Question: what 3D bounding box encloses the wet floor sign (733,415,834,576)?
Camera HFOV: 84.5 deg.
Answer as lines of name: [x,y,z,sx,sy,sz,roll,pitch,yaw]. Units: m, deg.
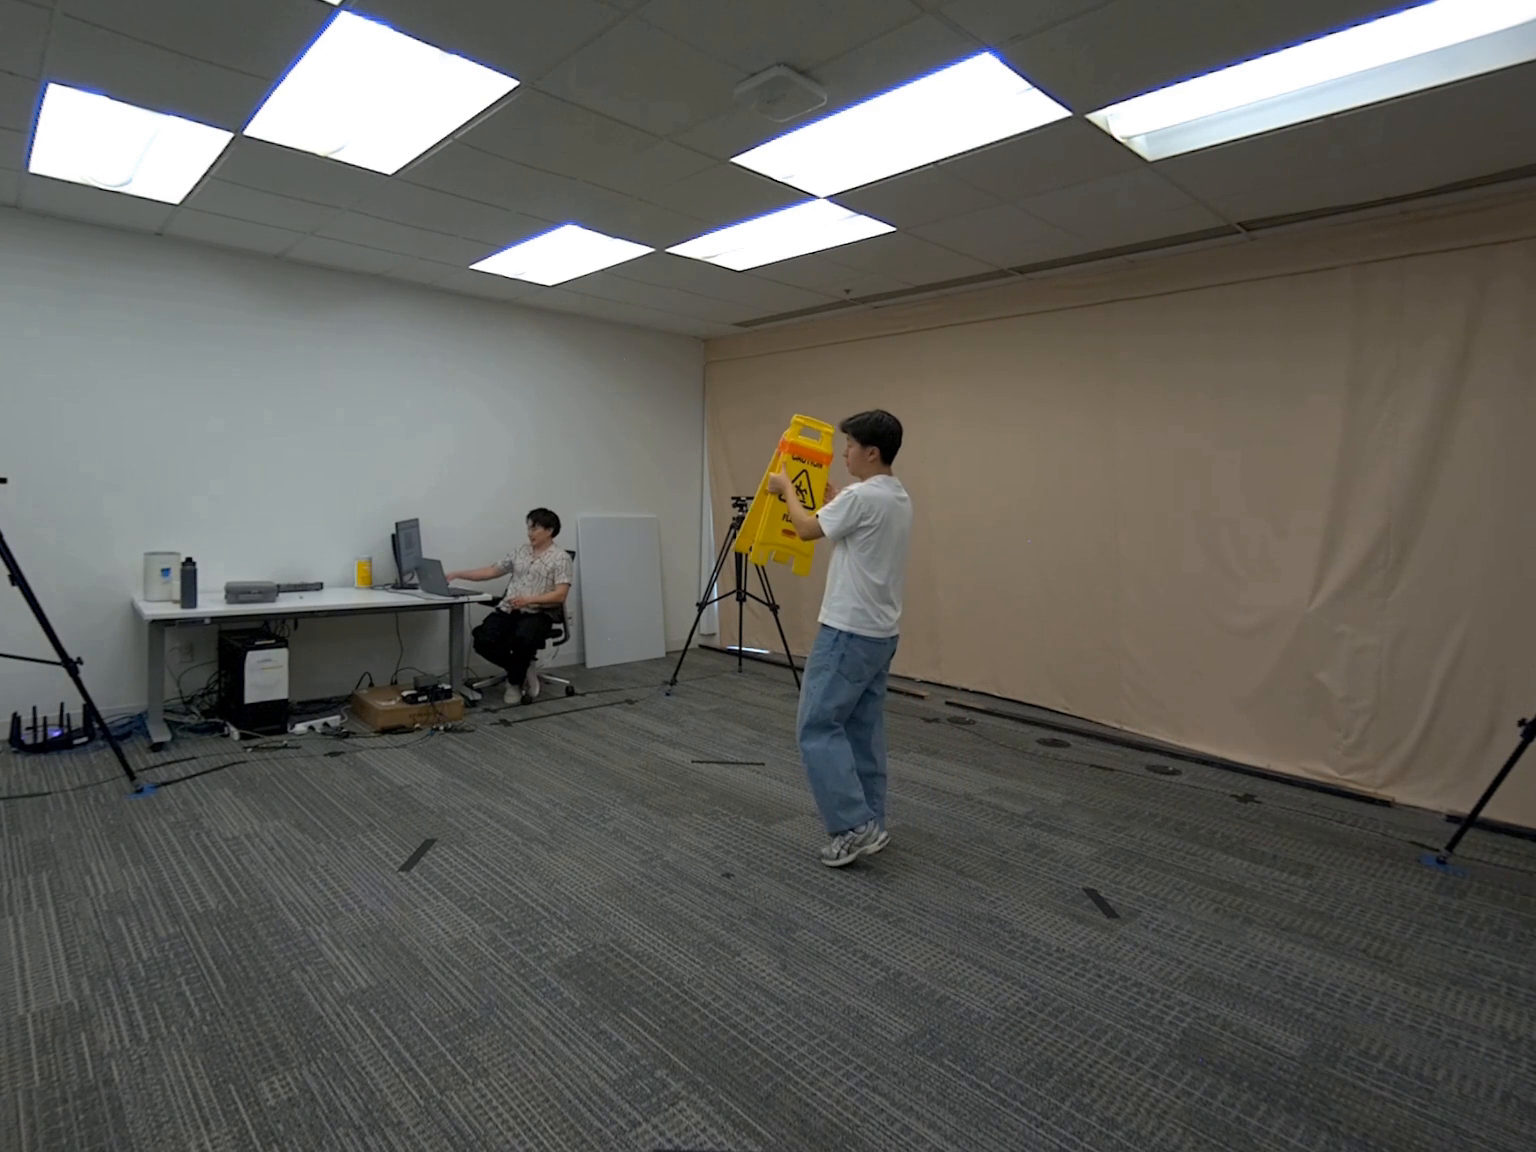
wet floor sign: [0.103,-0.358,3.647,0.277,0.644,0.296,14,7,-22]
